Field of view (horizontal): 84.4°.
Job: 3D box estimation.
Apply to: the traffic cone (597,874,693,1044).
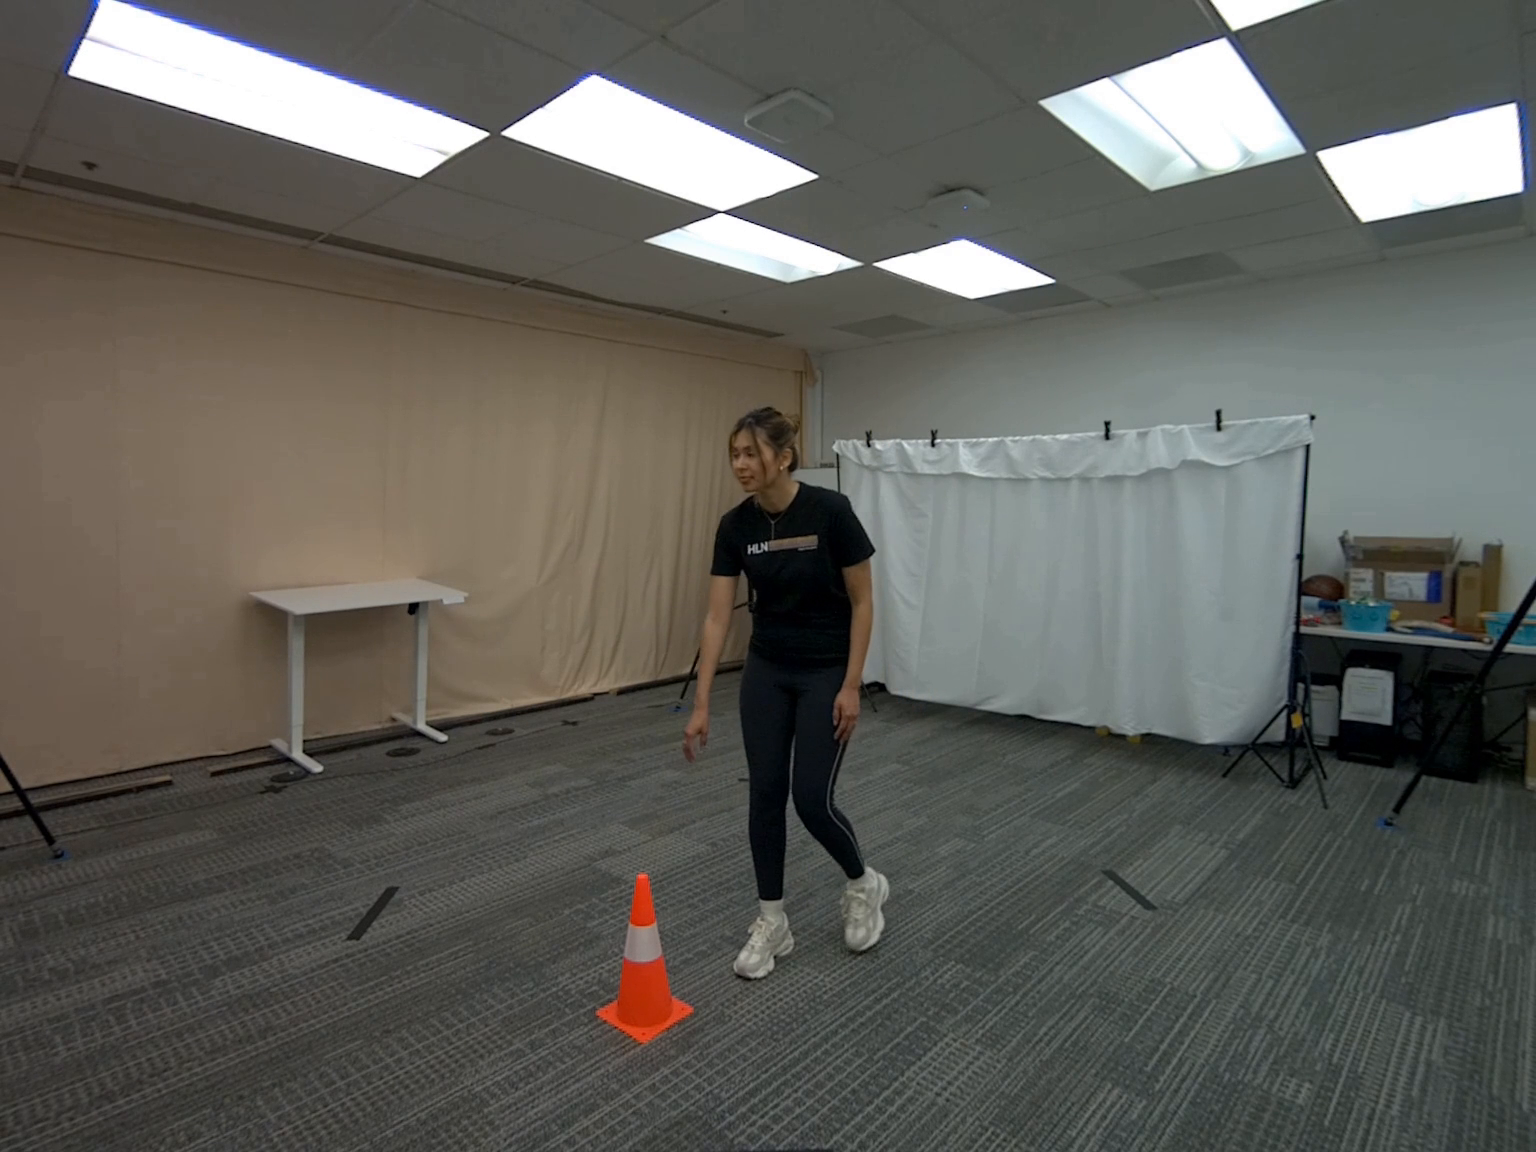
[{"bbox_3d":[-0.333,1.015,2.307,0.210,0.383,0.198,4,3,42],"label":"traffic cone"}]
